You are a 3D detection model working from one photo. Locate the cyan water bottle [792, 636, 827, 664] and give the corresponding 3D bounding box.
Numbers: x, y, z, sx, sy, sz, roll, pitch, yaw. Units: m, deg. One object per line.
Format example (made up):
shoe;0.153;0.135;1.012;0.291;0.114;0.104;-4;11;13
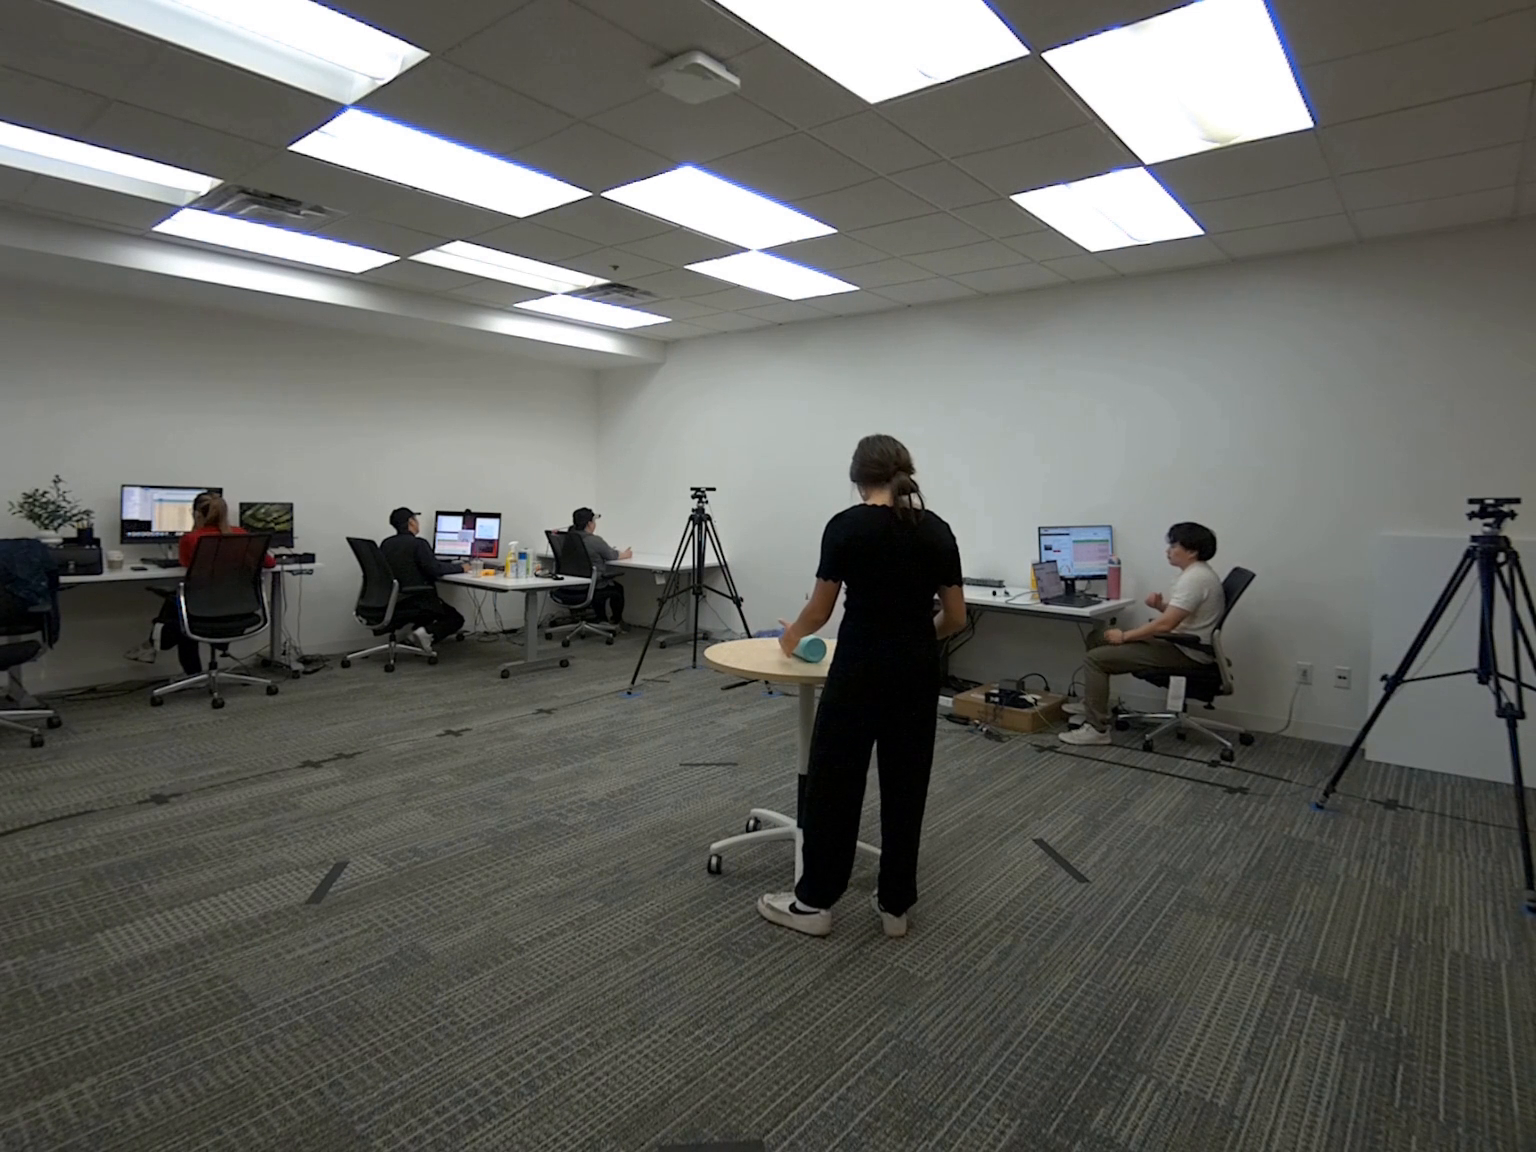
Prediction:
cyan water bottle;0.108;0.241;3.105;0.090;0.092;0.290;0;5;-20
